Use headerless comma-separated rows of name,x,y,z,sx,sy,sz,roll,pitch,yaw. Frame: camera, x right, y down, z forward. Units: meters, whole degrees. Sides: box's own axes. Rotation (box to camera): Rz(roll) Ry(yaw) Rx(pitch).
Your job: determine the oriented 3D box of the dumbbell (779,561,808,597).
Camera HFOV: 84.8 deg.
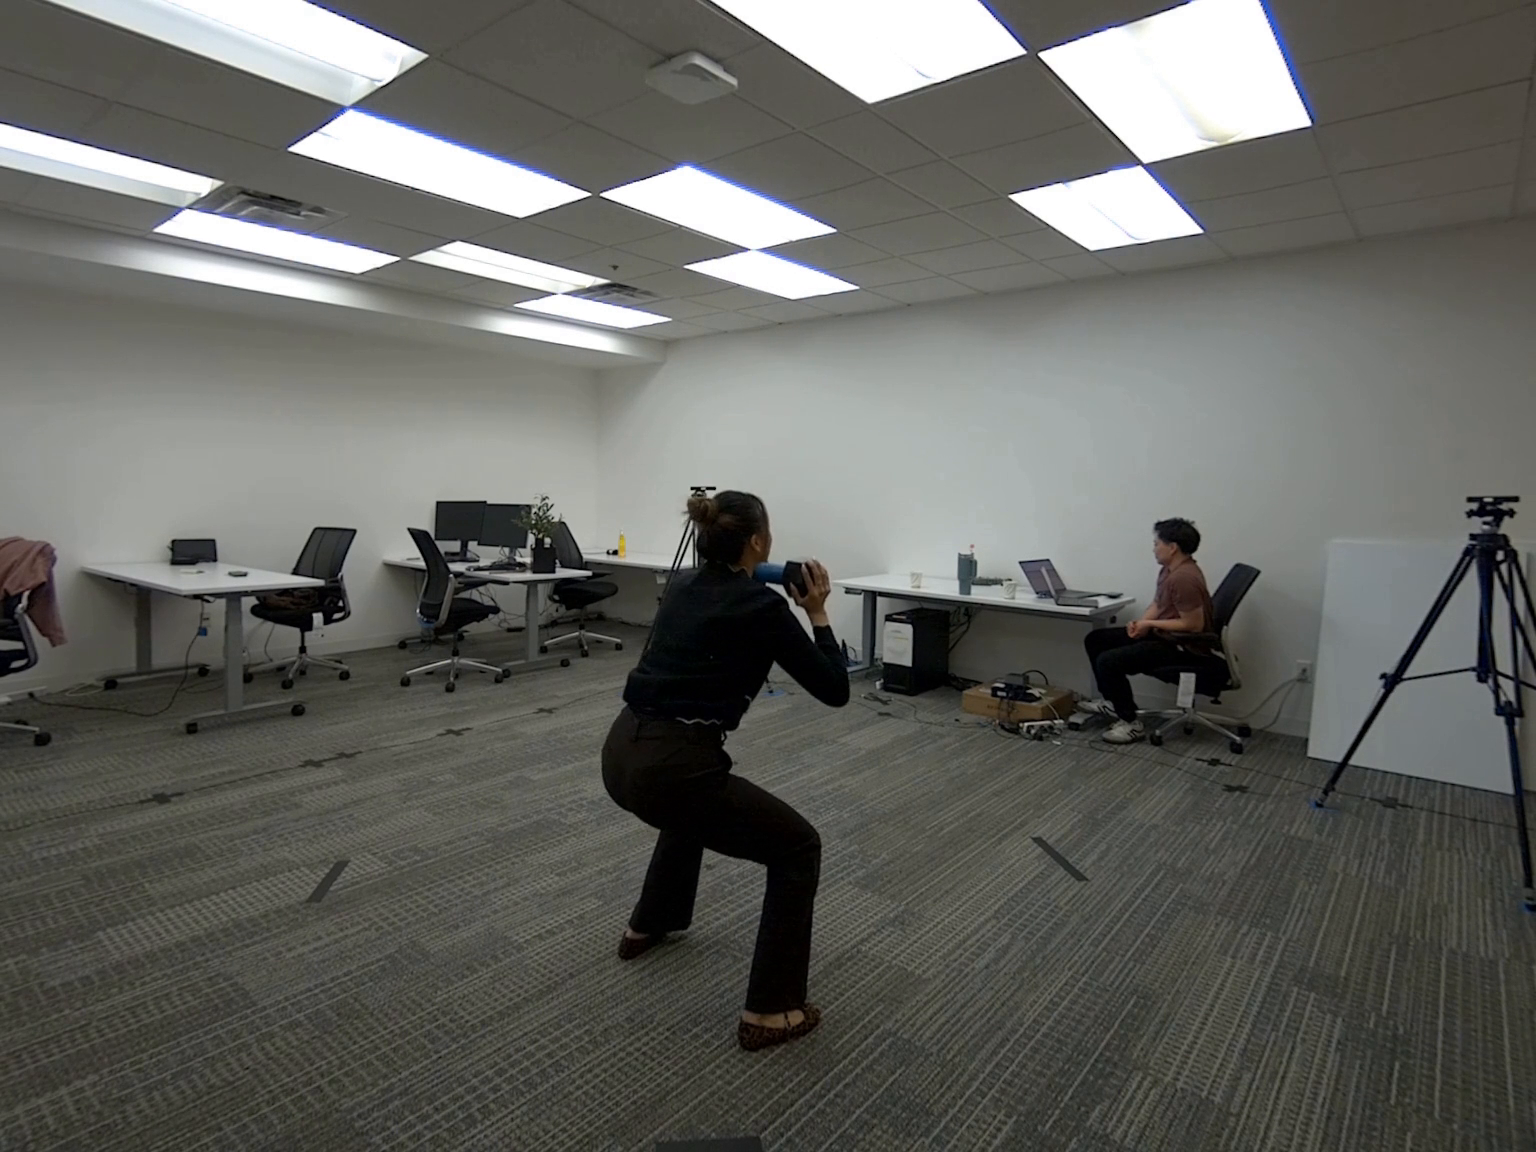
dumbbell,0.014,-0.008,2.460,0.304,0.119,0.109,6,46,46
